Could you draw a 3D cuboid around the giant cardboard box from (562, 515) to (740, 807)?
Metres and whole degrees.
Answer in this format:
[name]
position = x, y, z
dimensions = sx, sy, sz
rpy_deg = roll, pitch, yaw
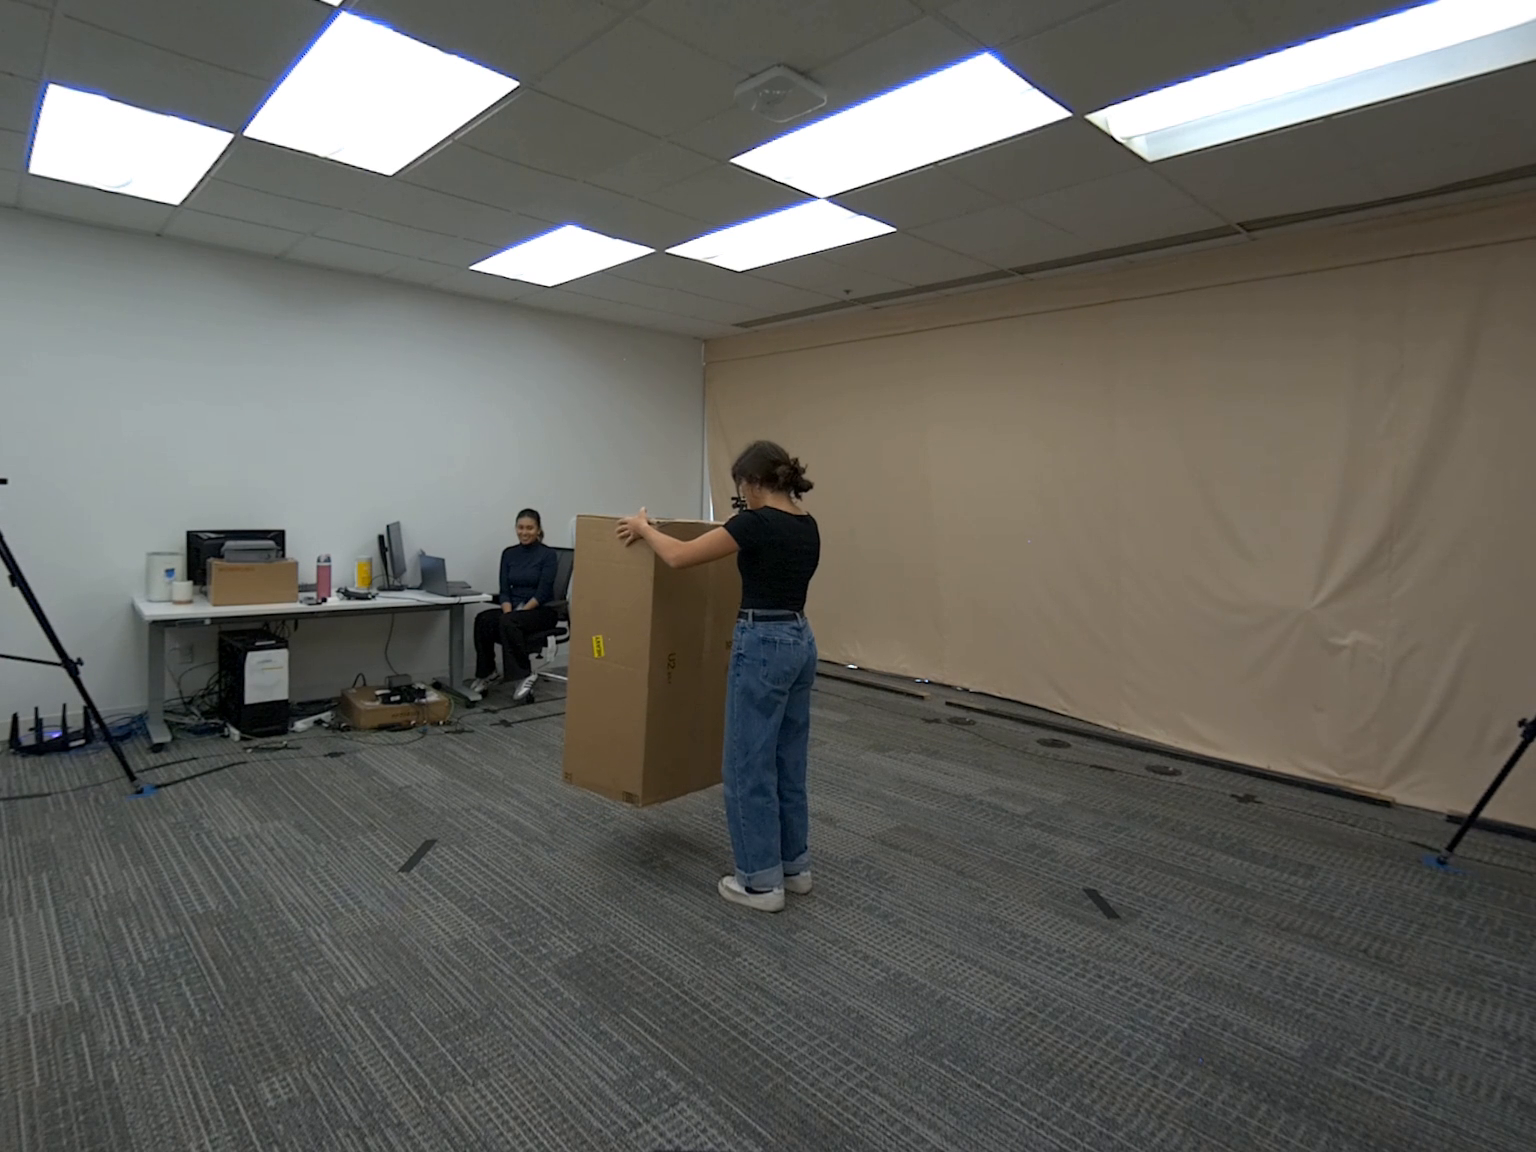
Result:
[giant cardboard box]
position = -0.426, 0.296, 3.293
dimensions = 0.437, 1.024, 0.564
rpy_deg = 6, 3, 37
